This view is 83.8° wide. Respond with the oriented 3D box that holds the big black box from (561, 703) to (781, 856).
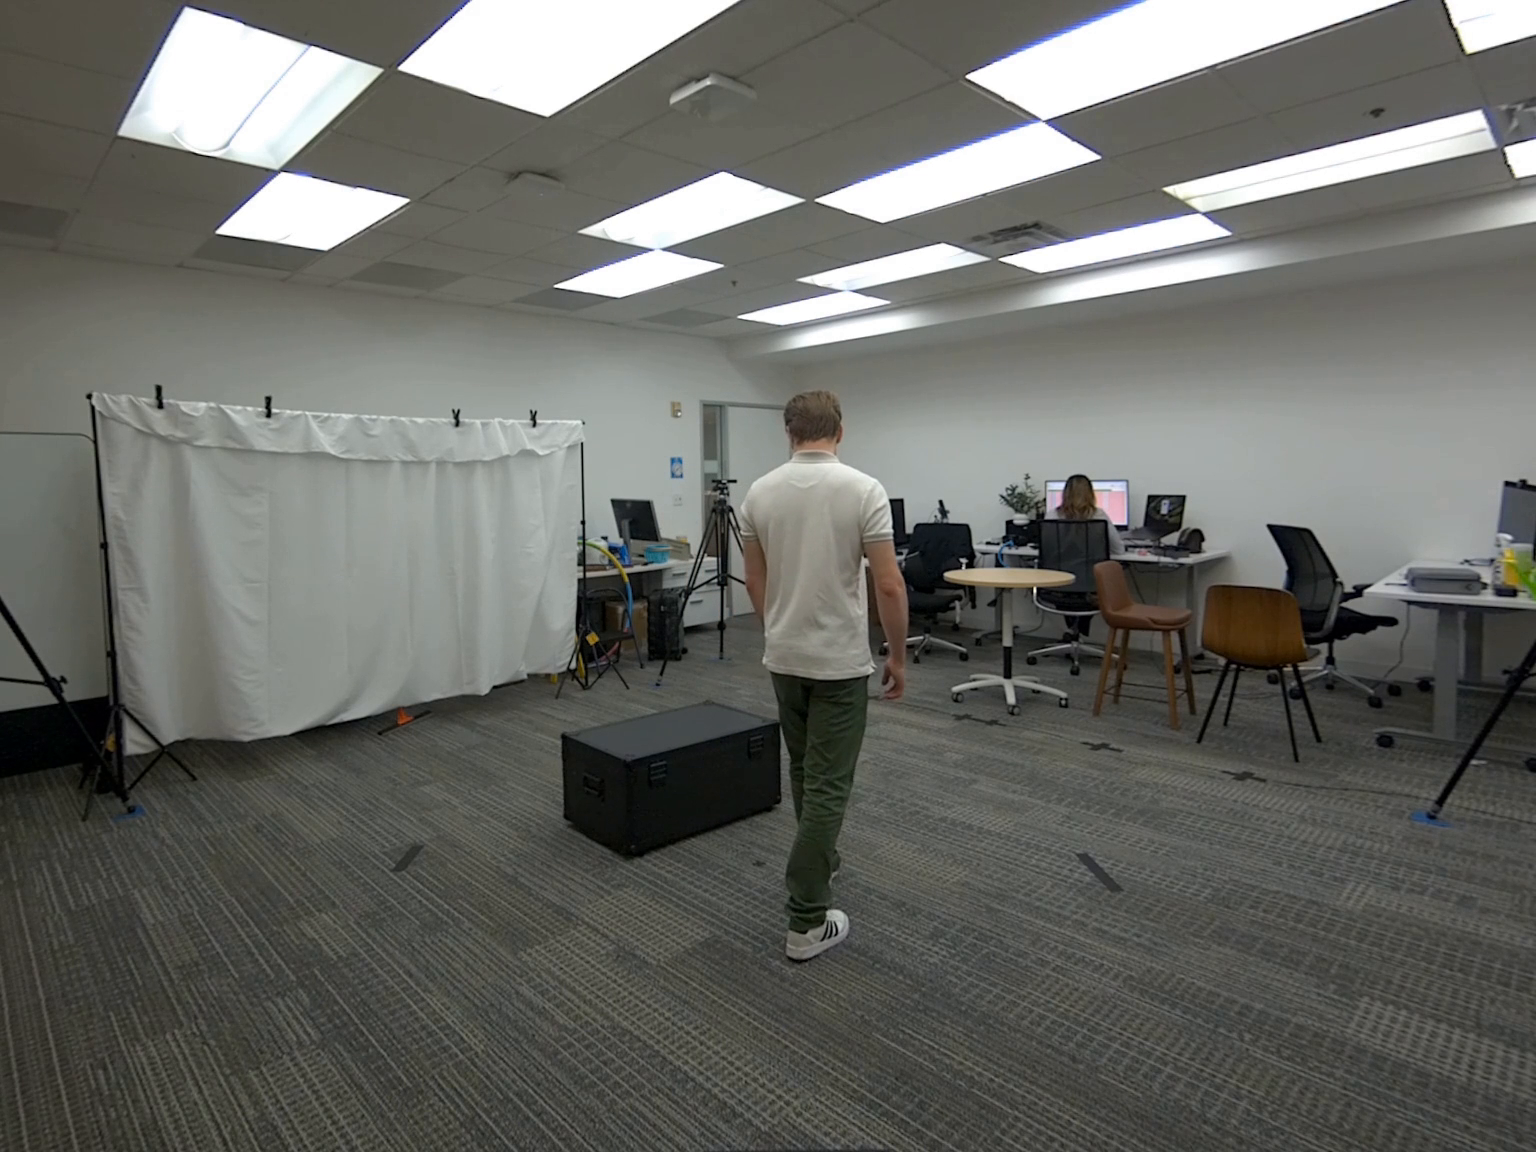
[{"bbox_3d":[-0.367,0.810,3.575,0.839,0.394,0.537,-7,8,-41],"label":"big black box"}]
